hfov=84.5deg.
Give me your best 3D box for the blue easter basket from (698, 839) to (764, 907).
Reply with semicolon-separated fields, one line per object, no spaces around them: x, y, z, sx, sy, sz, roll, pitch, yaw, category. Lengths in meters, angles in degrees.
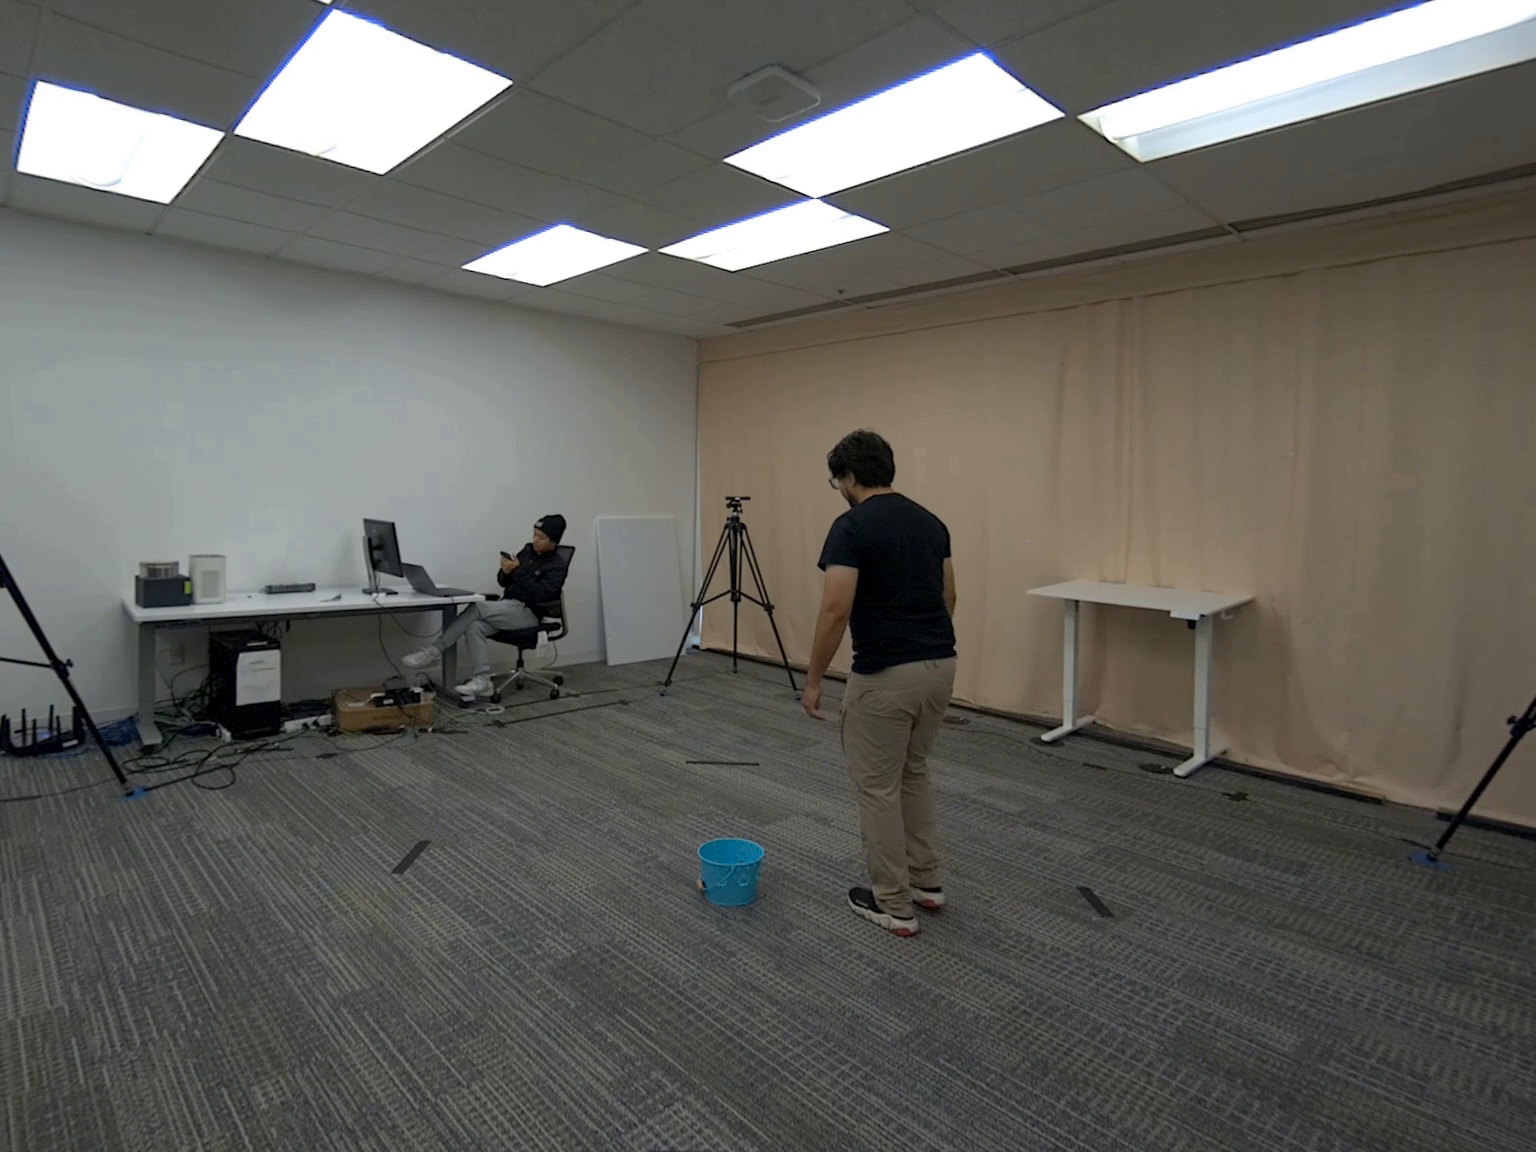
-0.144;1.036;2.966;0.243;0.155;0.244;1;4;-1;blue easter basket
